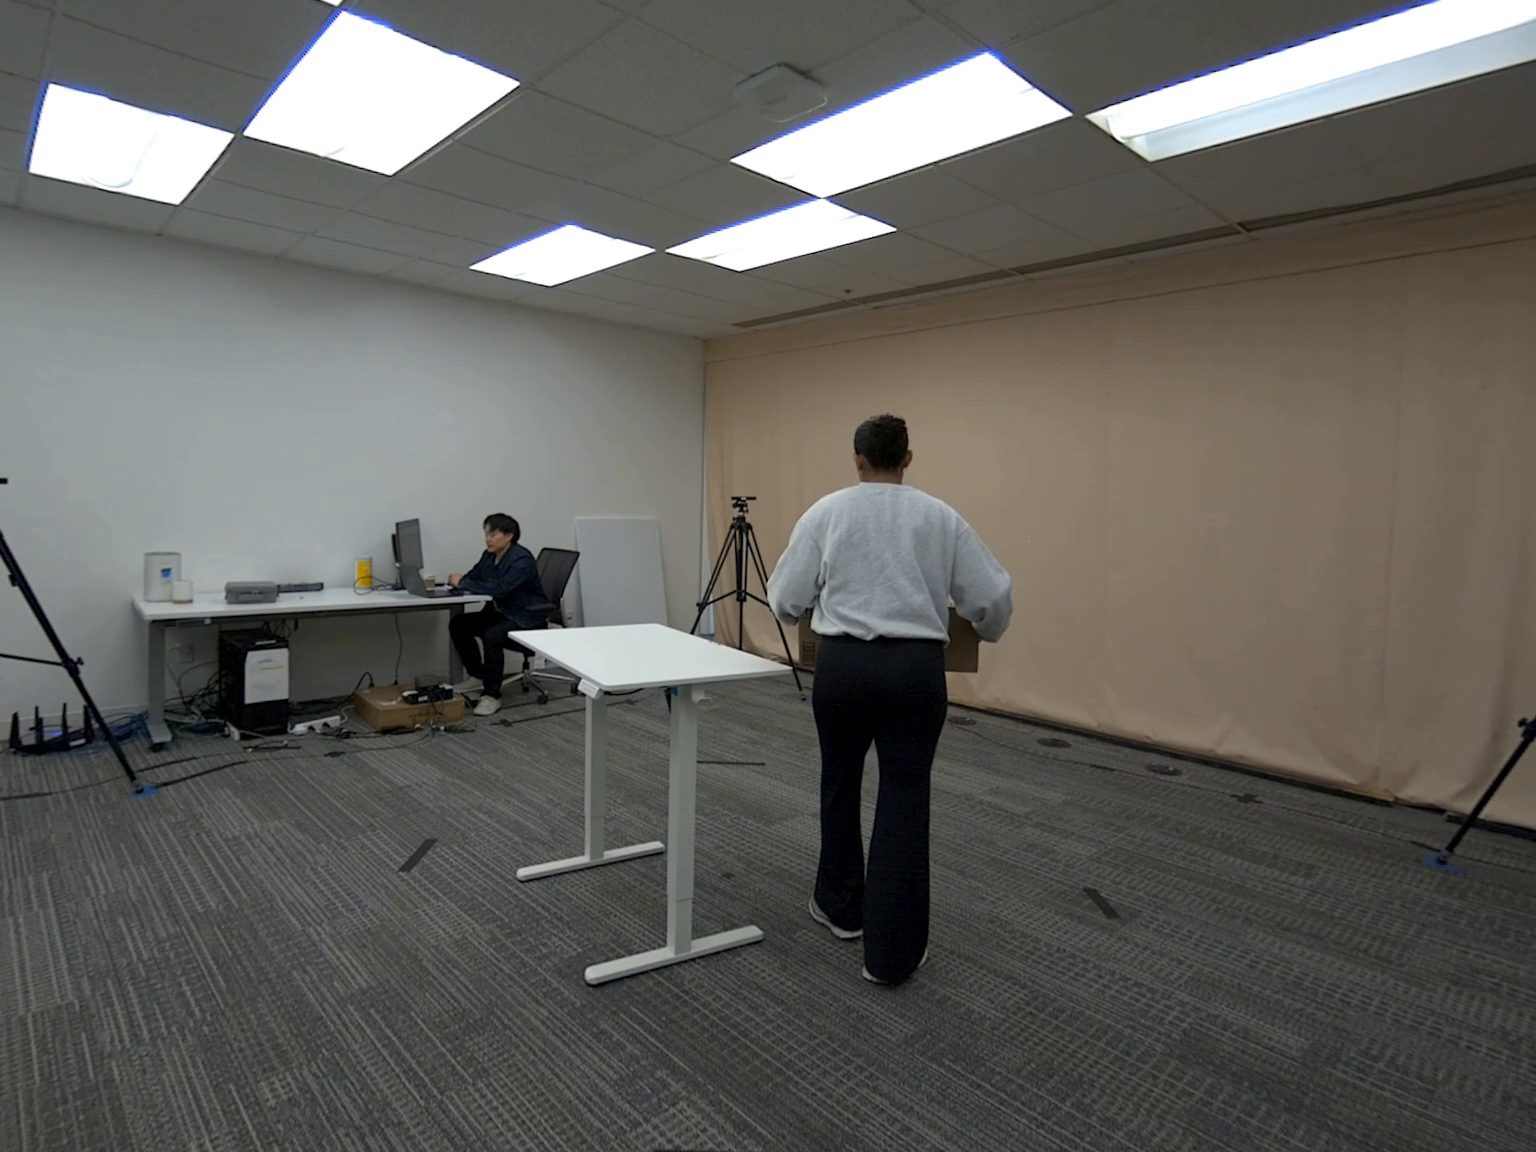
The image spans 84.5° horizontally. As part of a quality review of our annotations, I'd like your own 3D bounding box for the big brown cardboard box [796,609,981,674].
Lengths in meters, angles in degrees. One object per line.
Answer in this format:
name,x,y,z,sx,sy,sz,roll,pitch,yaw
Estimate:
big brown cardboard box,0.412,0.159,2.880,0.594,0.232,0.417,0,9,10
